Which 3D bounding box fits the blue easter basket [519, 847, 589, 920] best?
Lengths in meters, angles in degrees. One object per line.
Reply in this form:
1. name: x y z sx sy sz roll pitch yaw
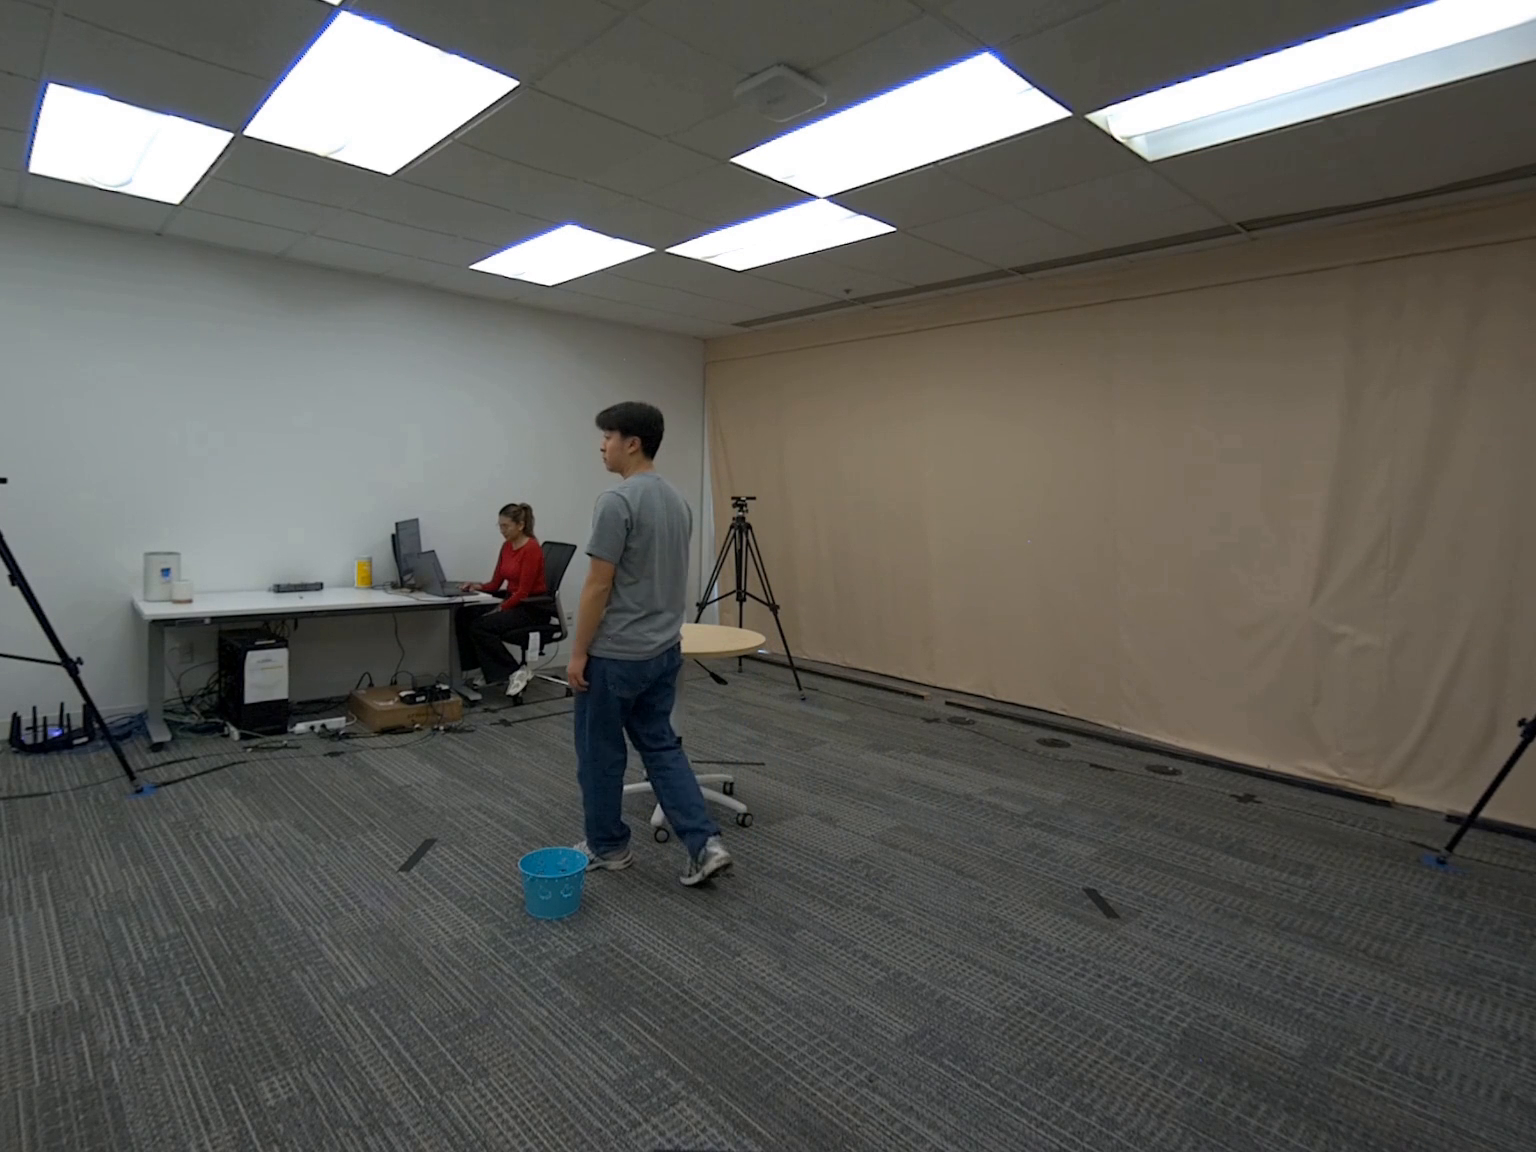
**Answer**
1. blue easter basket: -0.735 1.040 2.849 0.243 0.155 0.244 1 5 -1
